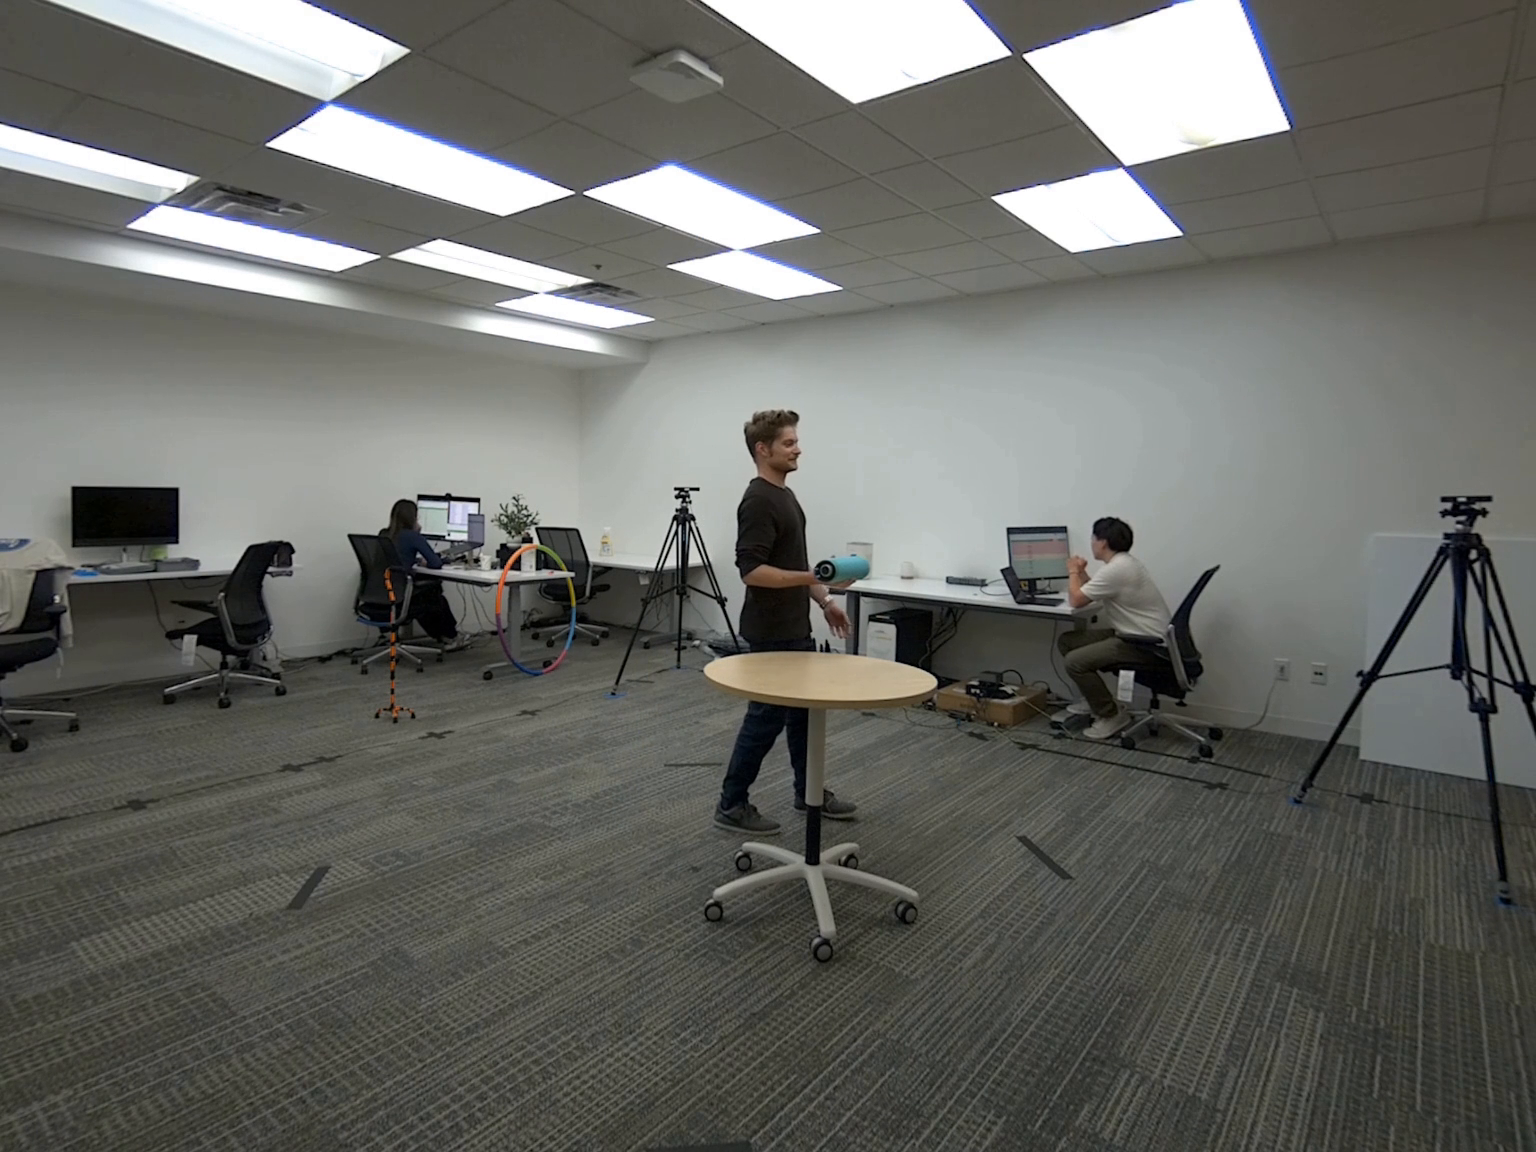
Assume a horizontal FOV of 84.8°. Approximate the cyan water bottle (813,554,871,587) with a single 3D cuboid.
[{"bbox_3d":[0.257,-0.027,3.107,0.095,0.092,0.275,4,6,36],"label":"cyan water bottle"}]
